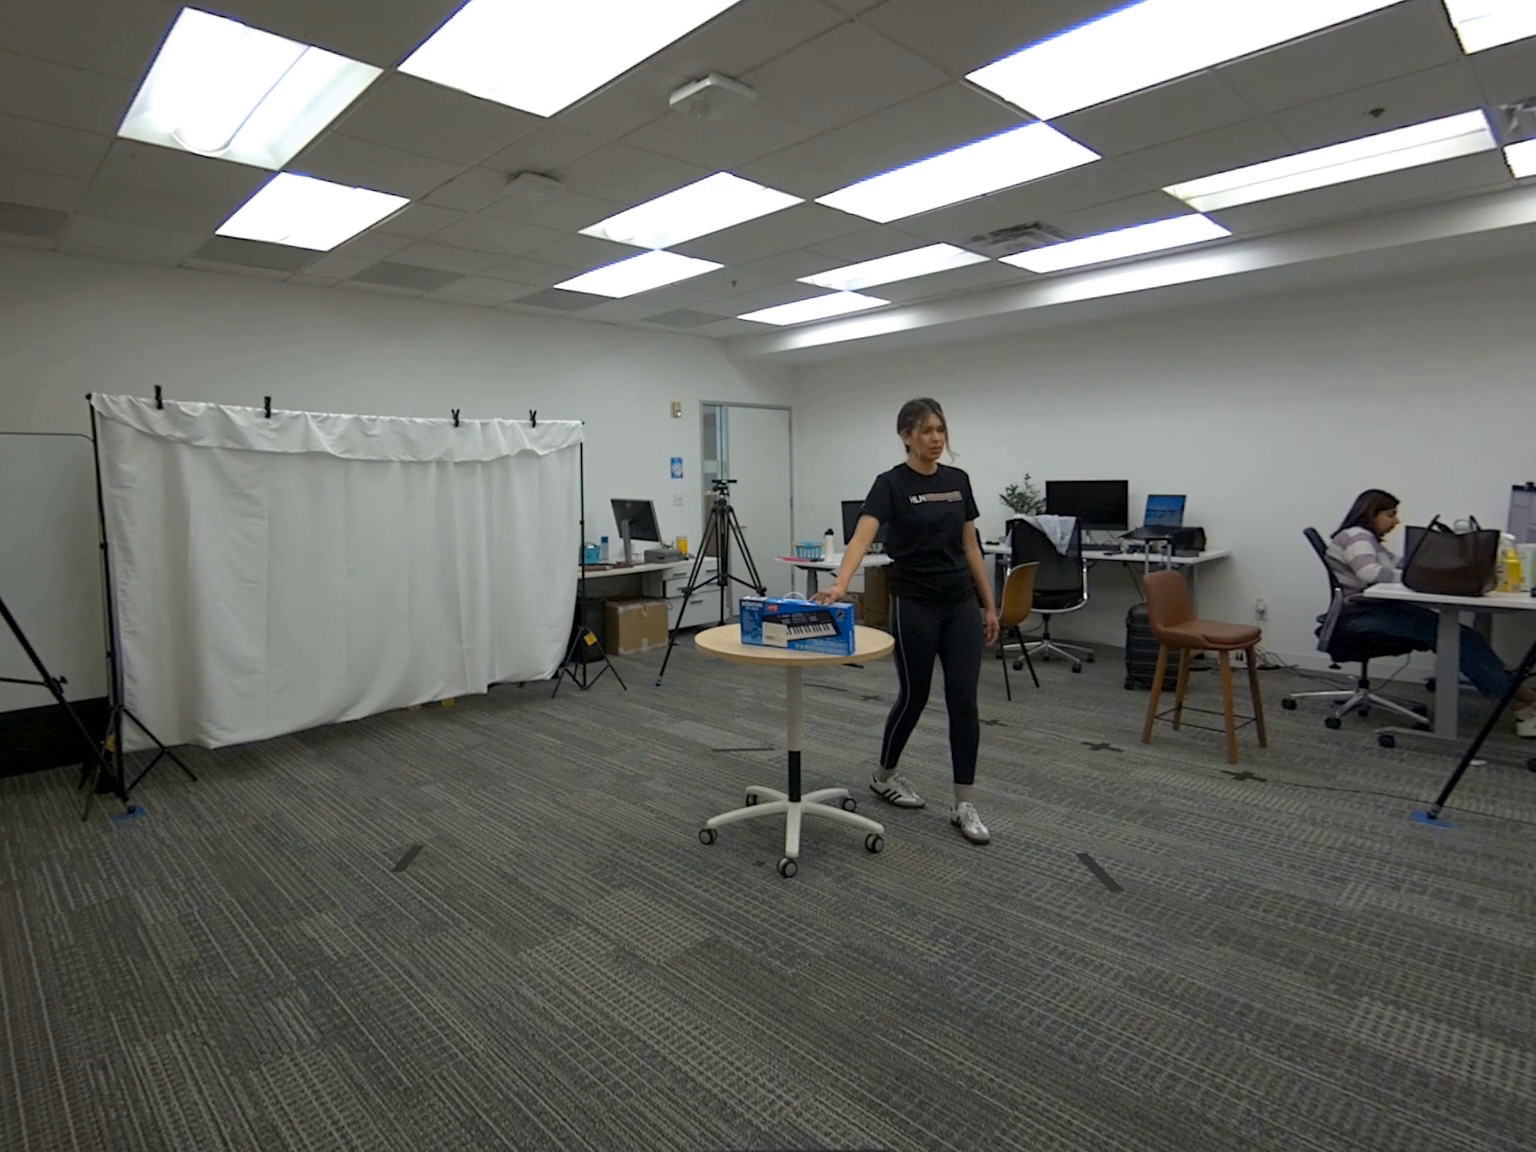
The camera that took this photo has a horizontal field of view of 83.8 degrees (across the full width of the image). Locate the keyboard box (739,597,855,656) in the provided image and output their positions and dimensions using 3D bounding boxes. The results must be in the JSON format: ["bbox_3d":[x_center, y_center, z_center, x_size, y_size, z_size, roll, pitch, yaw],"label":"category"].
[{"bbox_3d":[0.103,0.177,3.081,0.449,0.174,0.058,3,10,32],"label":"keyboard box"}]
